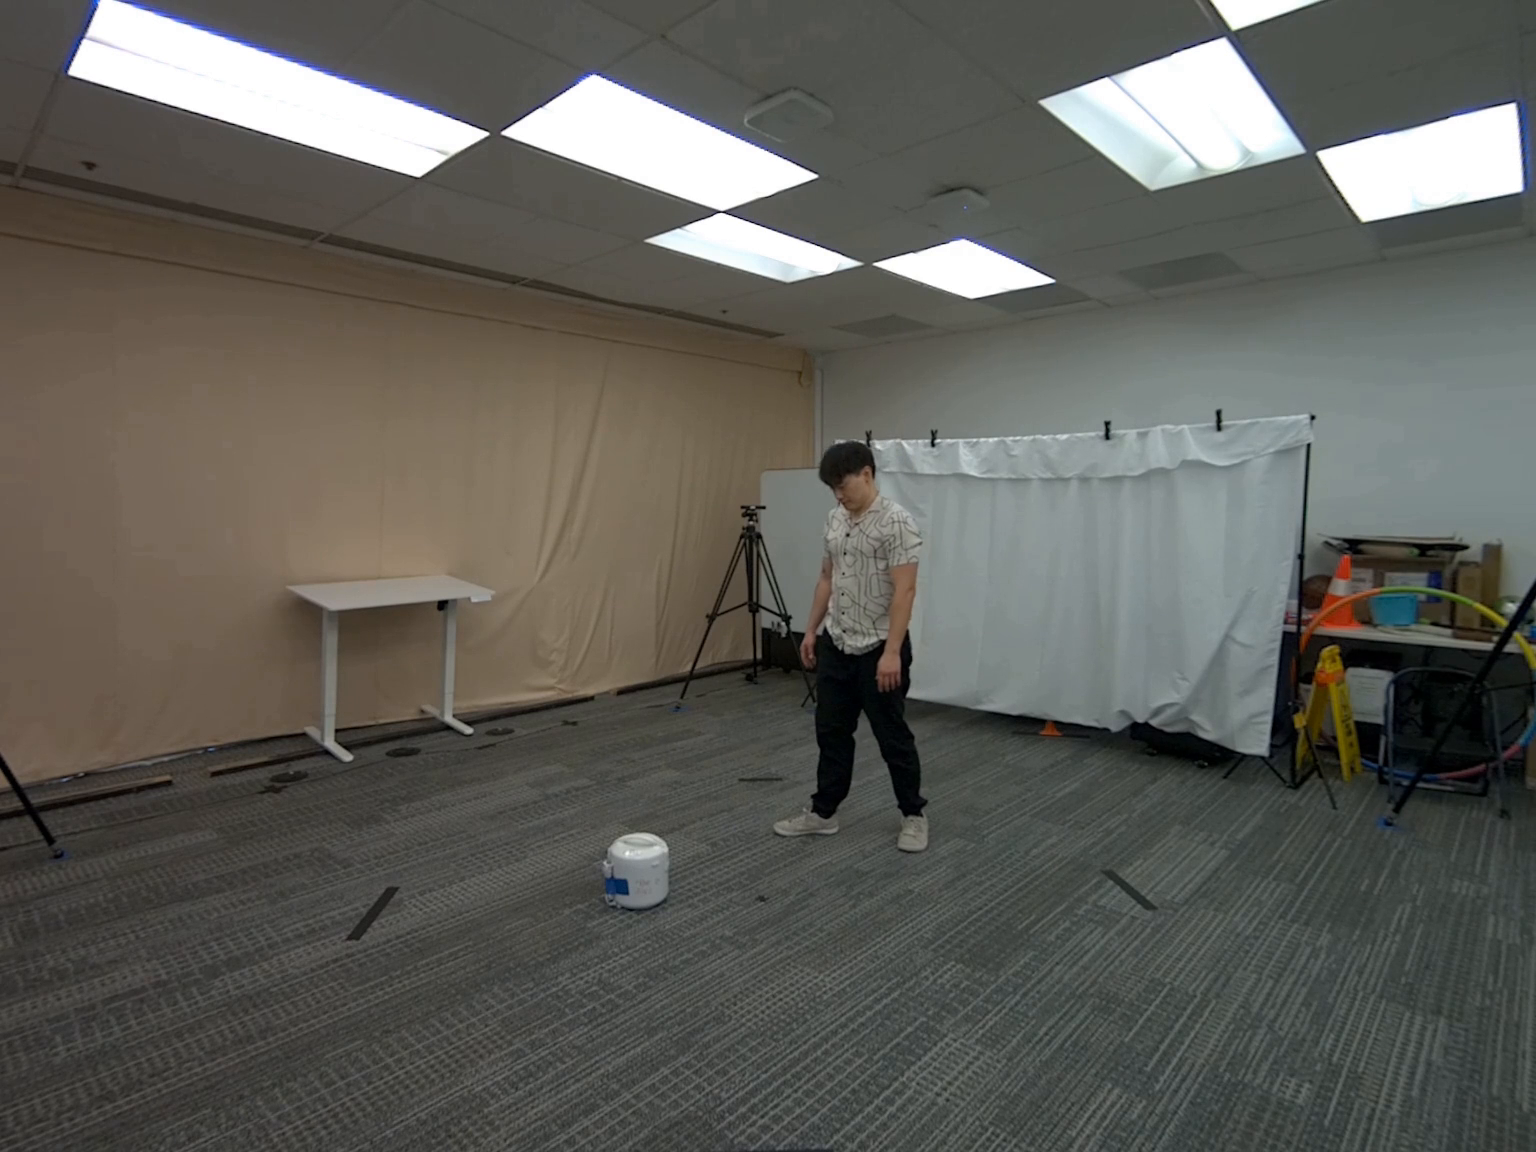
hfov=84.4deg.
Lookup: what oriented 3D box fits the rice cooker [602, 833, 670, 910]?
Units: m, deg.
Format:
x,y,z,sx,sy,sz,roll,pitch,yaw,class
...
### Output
x,y,z,sx,sy,sz,roll,pitch,yaw,class
-0.456,1.029,2.984,0.223,0.232,0.215,1,4,11,rice cooker
